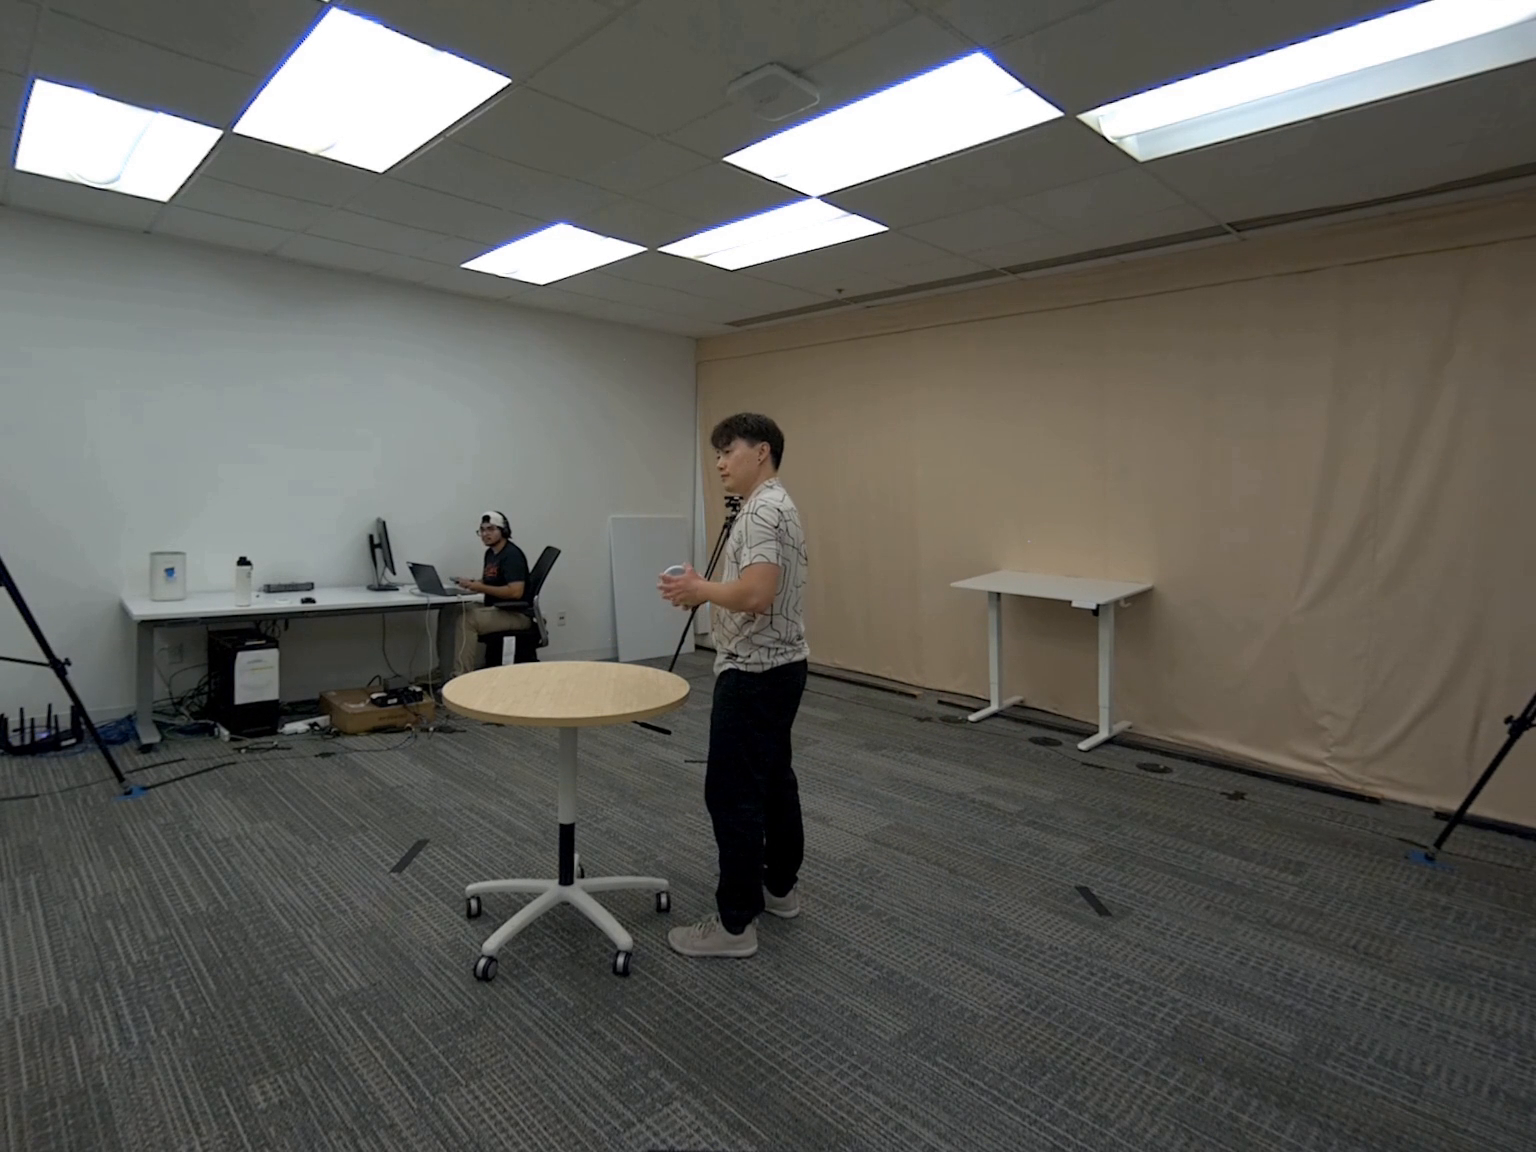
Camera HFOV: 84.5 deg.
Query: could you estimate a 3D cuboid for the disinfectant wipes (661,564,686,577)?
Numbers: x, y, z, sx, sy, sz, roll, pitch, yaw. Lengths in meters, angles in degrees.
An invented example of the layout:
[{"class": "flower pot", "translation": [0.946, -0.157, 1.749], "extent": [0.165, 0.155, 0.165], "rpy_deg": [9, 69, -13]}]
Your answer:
[{"class": "disinfectant wipes", "translation": [-0.275, 0.041, 2.727], "extent": [0.118, 0.118, 0.215], "rpy_deg": [2, -7, 3]}]
